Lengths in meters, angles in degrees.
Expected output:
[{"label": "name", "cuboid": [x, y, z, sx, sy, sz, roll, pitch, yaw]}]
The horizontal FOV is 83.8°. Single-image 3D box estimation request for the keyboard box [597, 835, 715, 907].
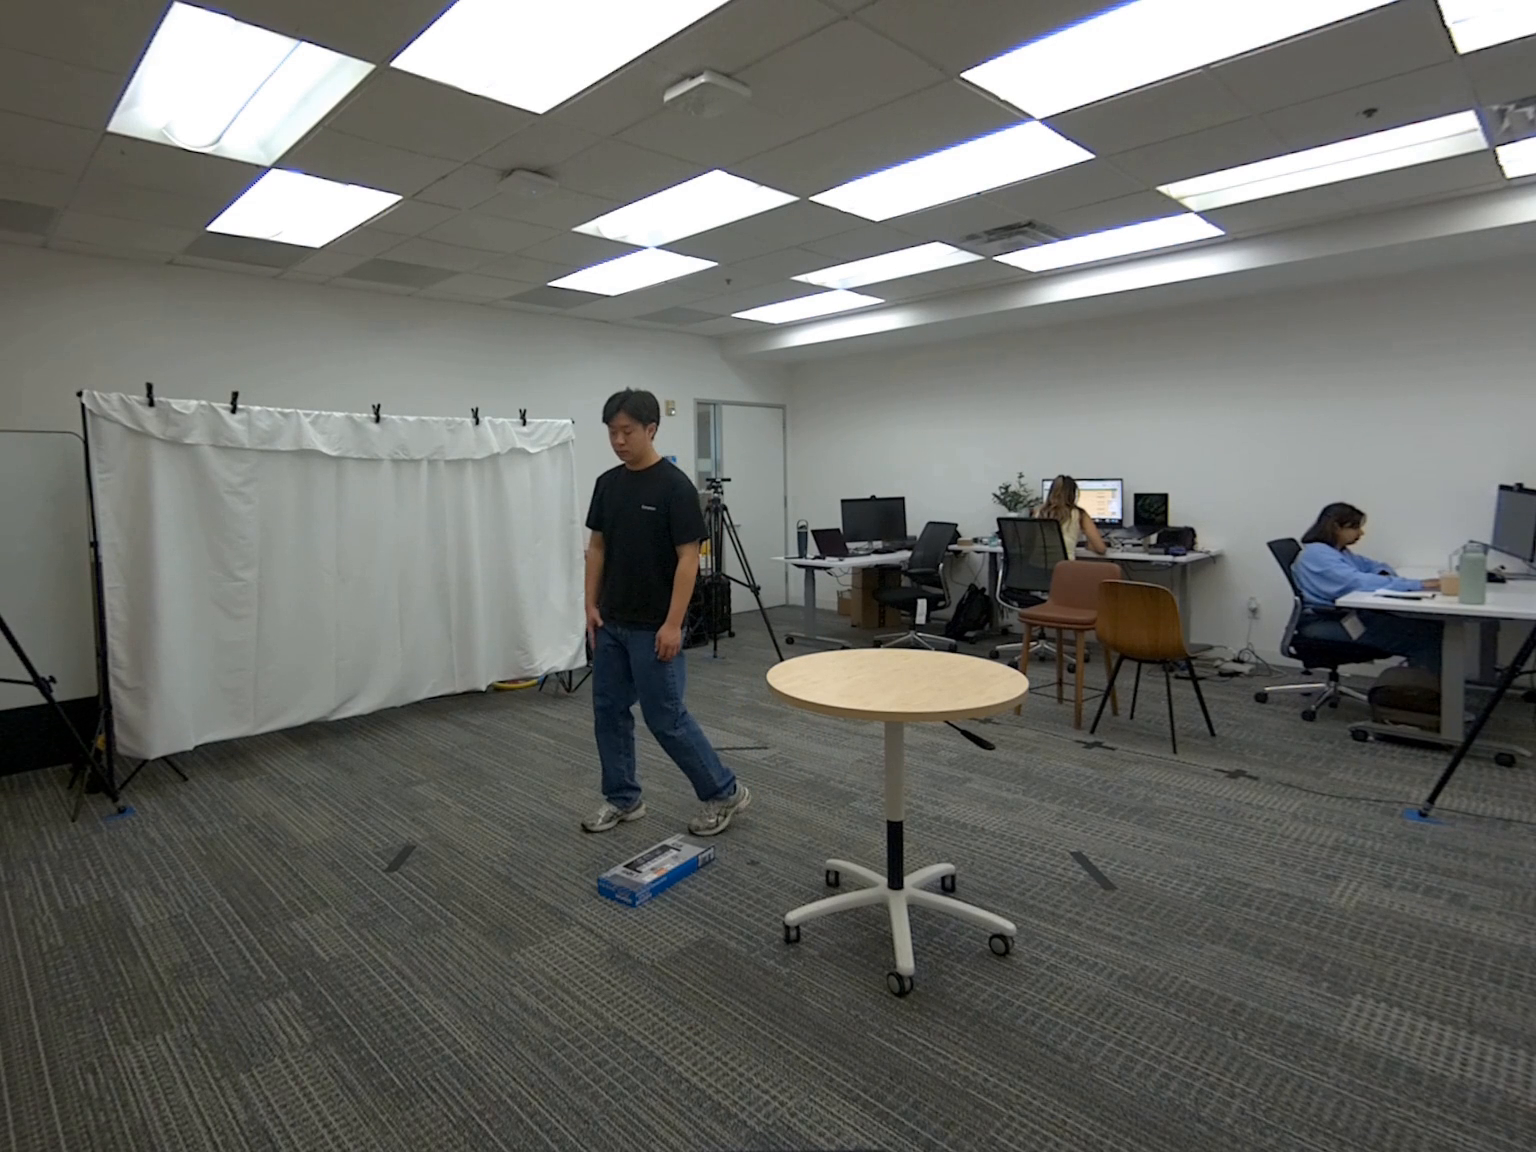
[{"label": "keyboard box", "cuboid": [-0.382, 1.030, 3.013, 0.181, 0.059, 0.426, 5, 9, 35]}]
